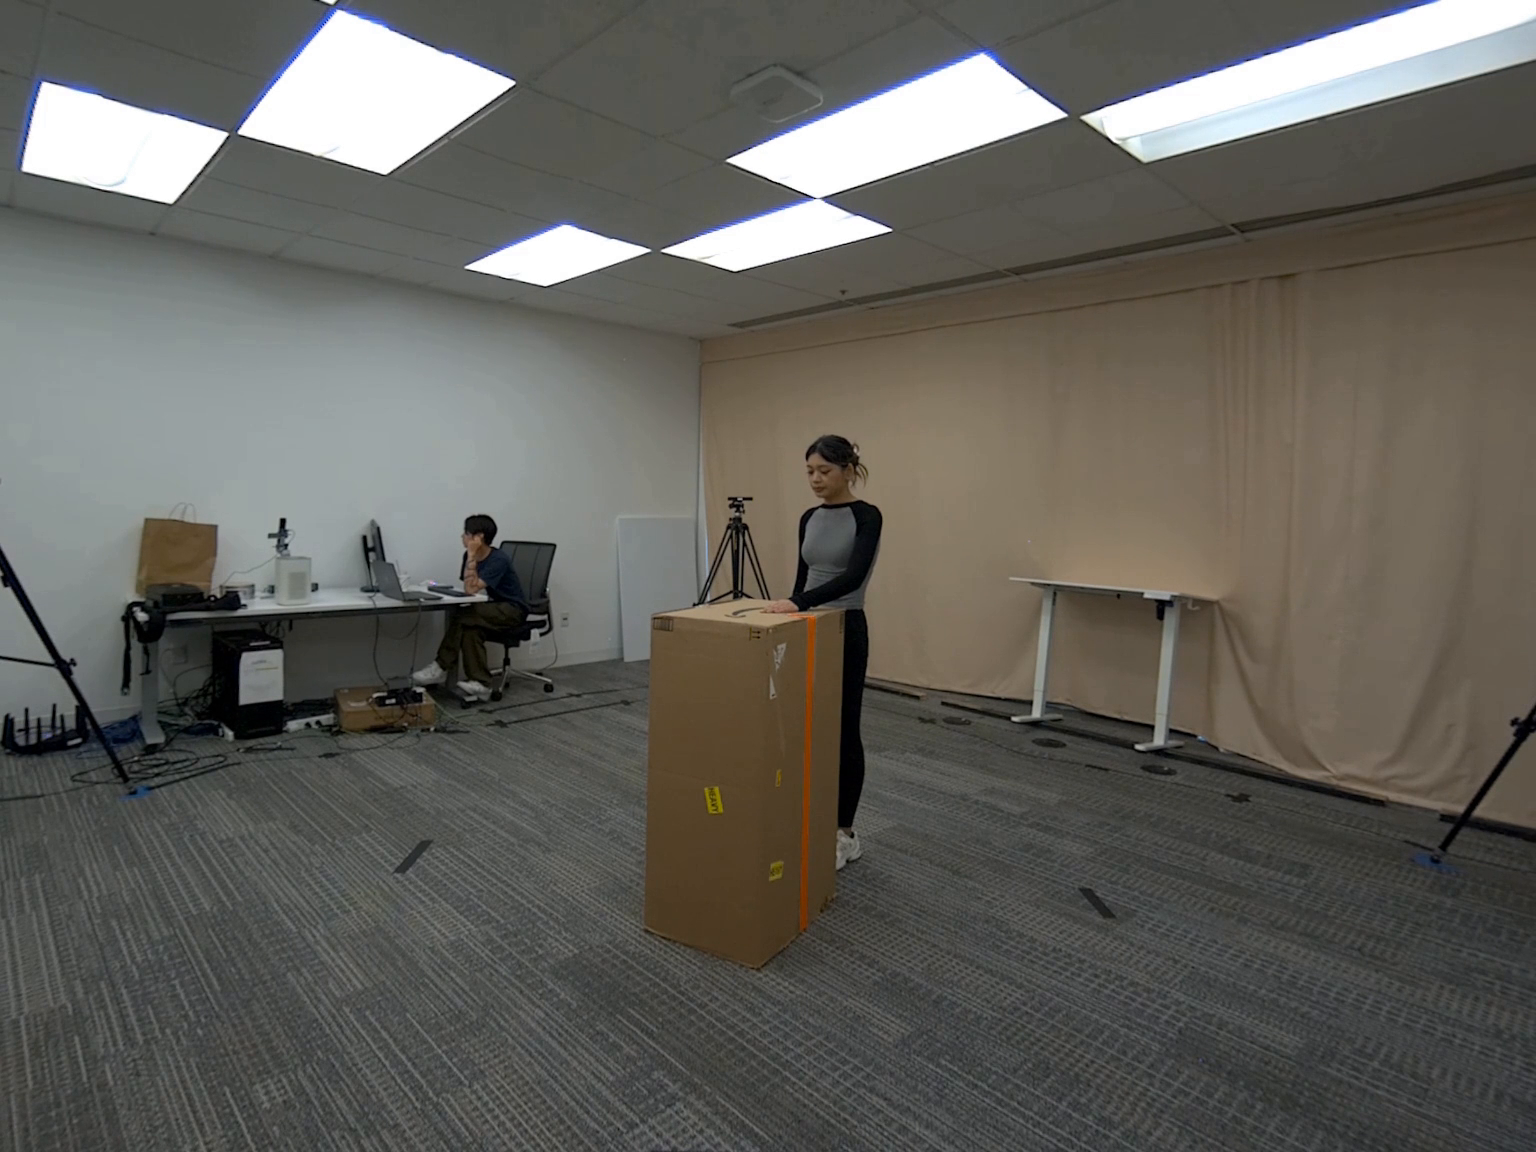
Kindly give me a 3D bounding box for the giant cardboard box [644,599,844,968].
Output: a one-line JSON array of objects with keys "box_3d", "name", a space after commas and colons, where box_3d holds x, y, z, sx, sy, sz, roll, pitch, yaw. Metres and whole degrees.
[{"box_3d": [-0.070, 0.631, 2.804, 0.456, 1.025, 0.573, 2, 3, 29], "name": "giant cardboard box"}]
